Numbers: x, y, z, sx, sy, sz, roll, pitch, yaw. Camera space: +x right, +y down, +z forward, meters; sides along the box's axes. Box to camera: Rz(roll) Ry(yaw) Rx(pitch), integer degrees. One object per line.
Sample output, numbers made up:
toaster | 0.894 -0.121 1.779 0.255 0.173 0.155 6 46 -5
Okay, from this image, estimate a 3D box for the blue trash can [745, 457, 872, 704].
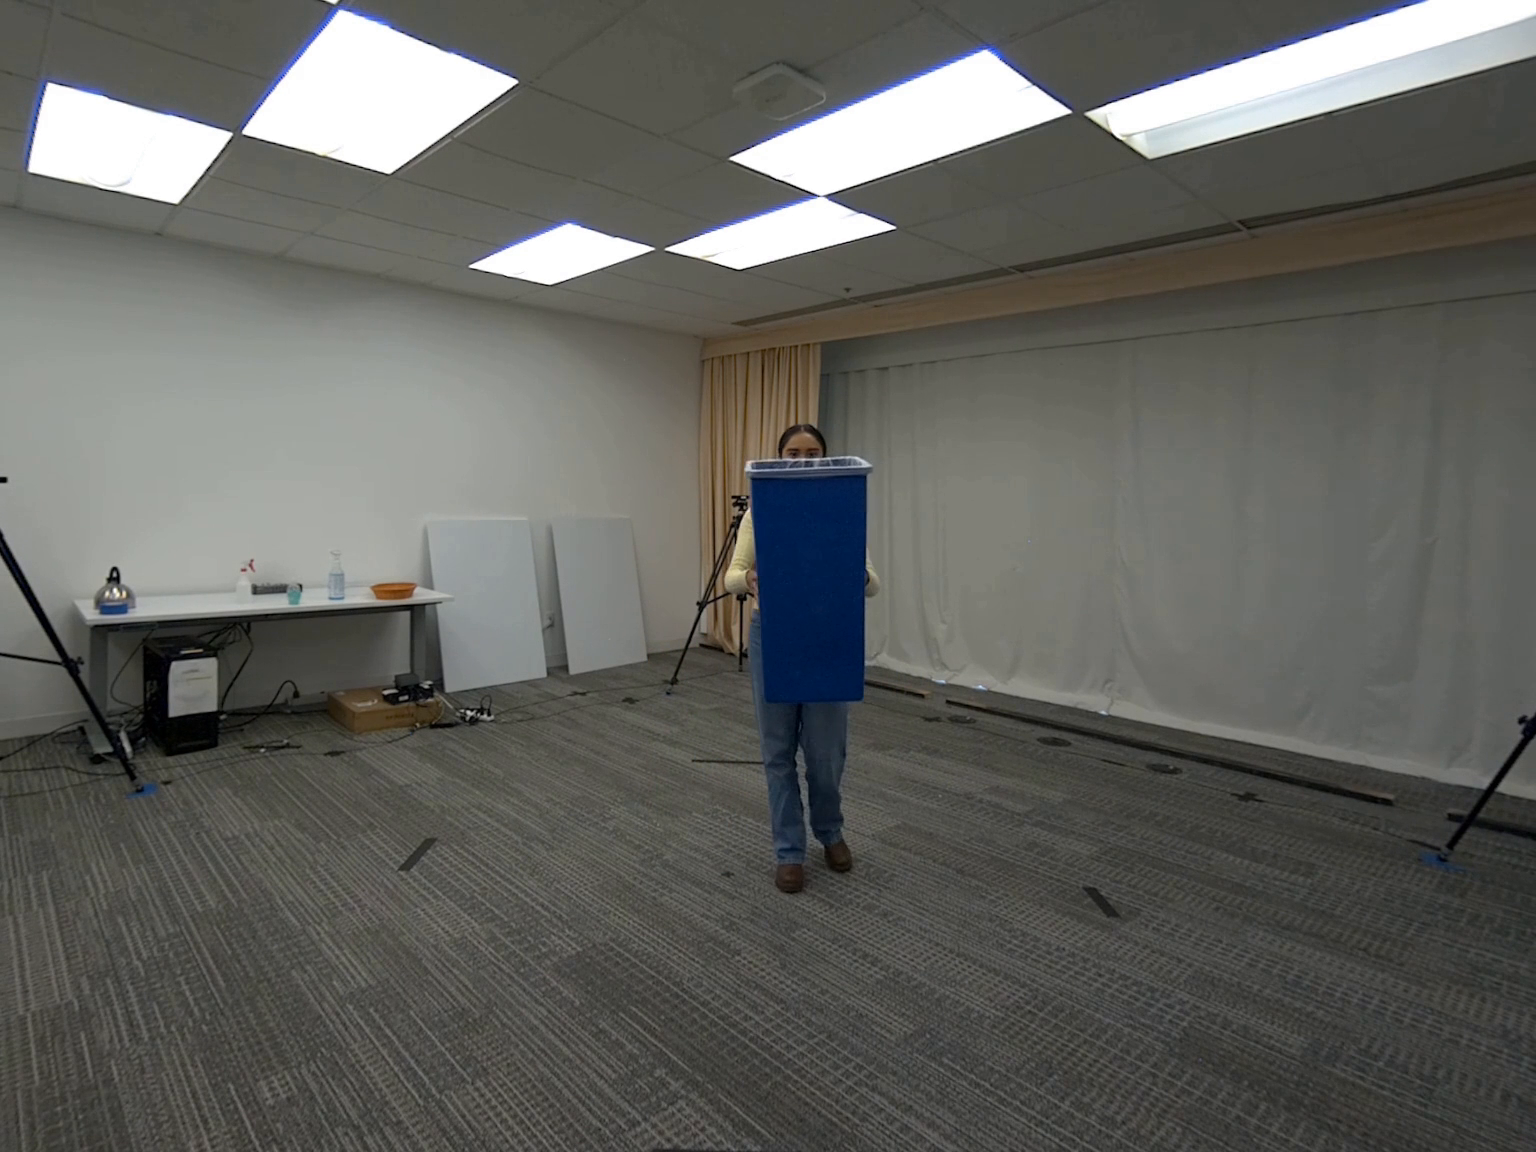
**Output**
blue trash can | 0.126 0.002 2.614 0.378 0.709 0.376 -2 8 1
